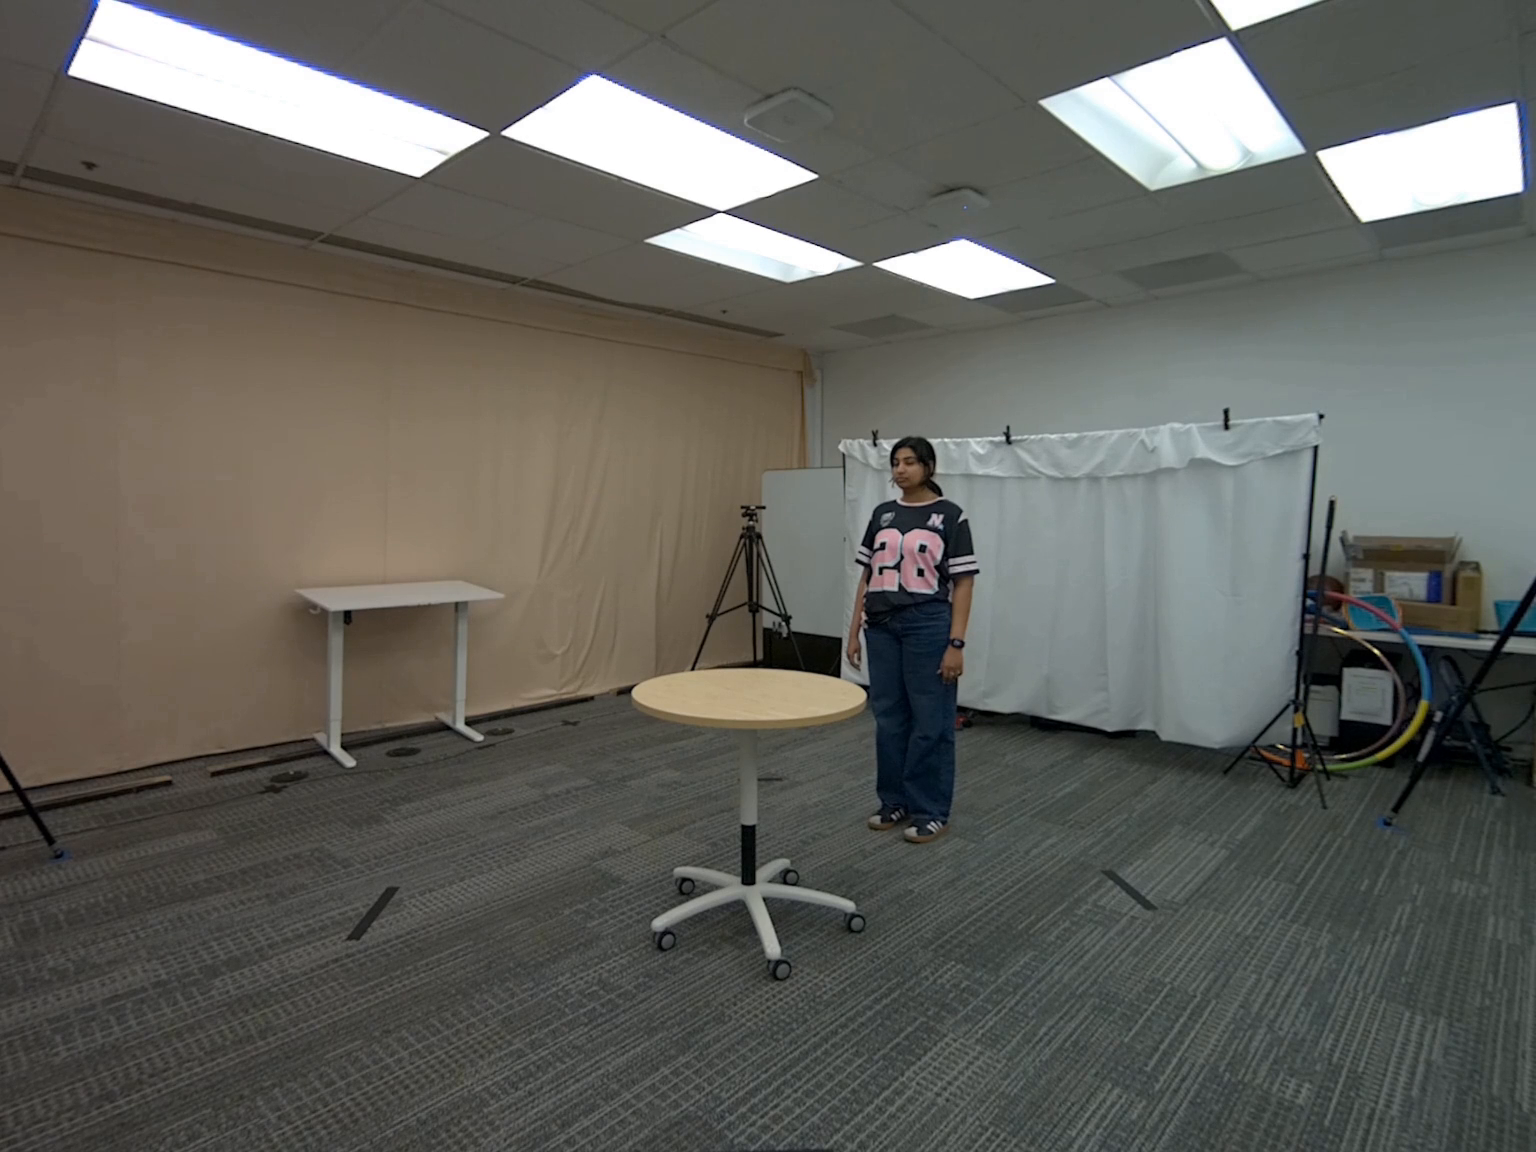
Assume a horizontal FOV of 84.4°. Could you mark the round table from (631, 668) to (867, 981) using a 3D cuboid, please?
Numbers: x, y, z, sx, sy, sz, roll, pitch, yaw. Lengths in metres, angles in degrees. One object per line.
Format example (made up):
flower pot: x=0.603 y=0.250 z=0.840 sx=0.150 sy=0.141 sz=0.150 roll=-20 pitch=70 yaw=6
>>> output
round table: x=-0.073 y=0.770 z=2.781 sx=0.784 sy=0.785 sz=0.788 roll=0 pitch=3 yaw=-2
